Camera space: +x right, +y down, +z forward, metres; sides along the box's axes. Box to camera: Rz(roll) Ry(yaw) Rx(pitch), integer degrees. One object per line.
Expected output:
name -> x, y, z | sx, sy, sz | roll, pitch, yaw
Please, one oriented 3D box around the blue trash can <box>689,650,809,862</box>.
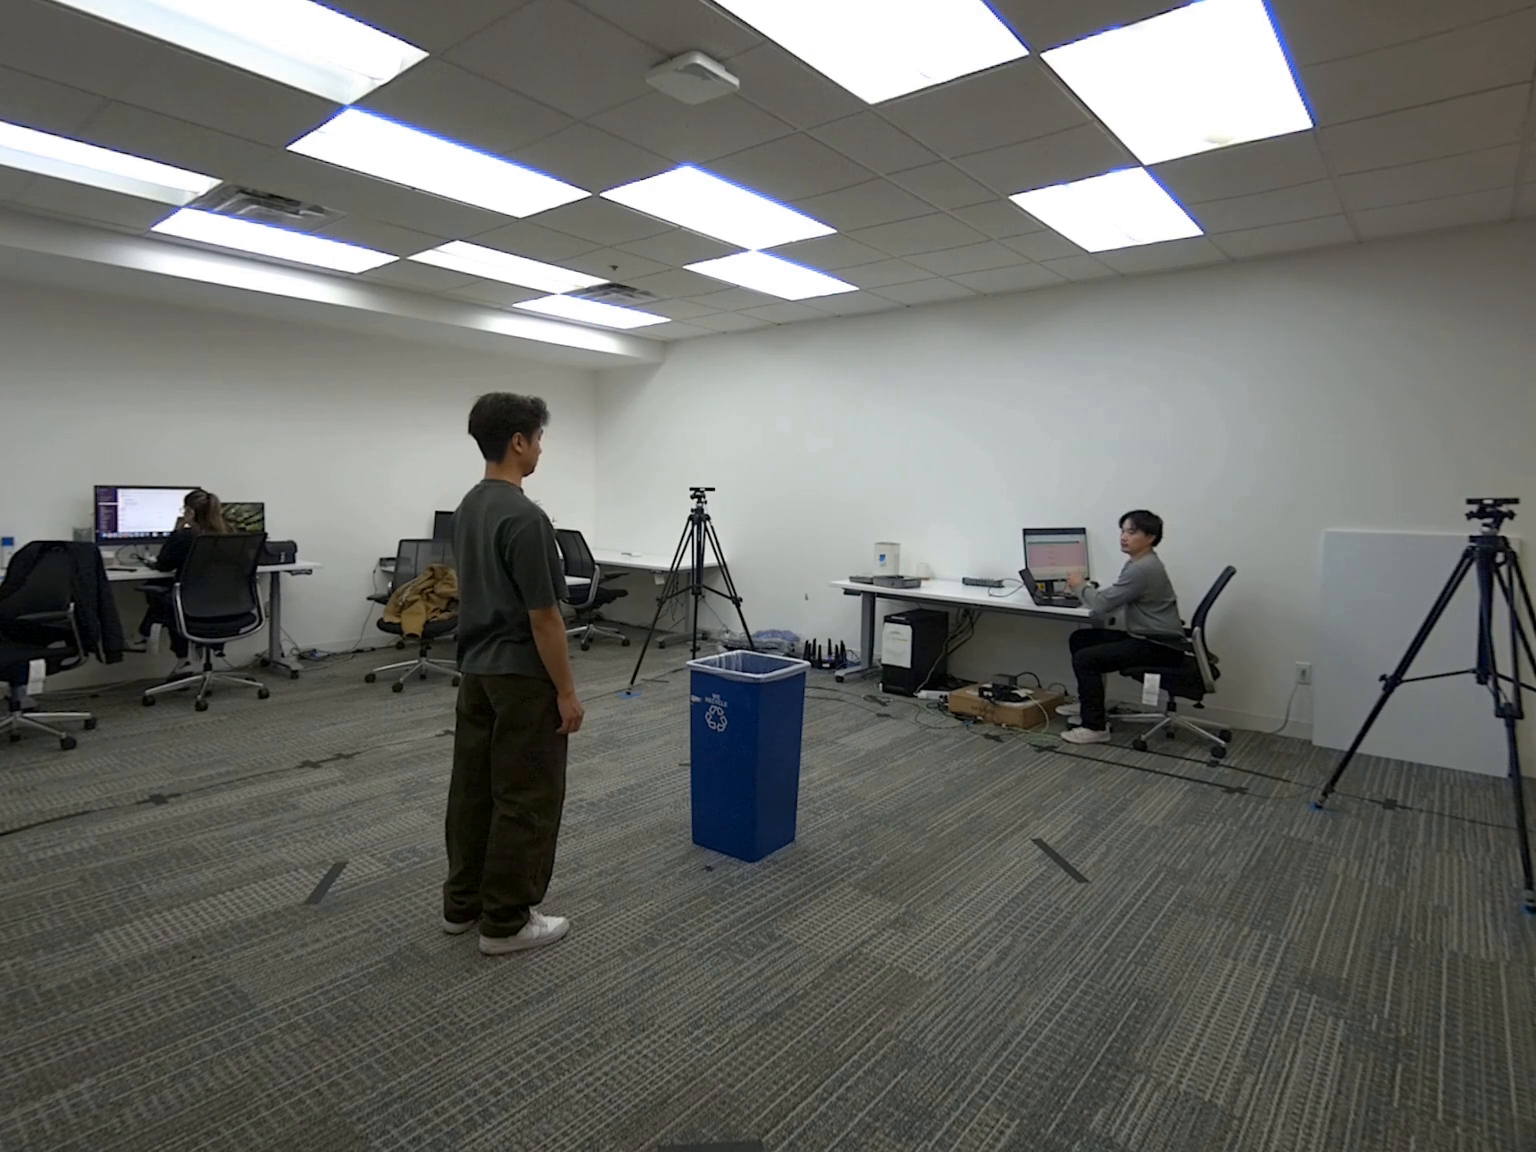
blue trash can -> -0.093, 0.687, 3.350 | 0.390, 0.711, 0.363 | 4, 5, 35
